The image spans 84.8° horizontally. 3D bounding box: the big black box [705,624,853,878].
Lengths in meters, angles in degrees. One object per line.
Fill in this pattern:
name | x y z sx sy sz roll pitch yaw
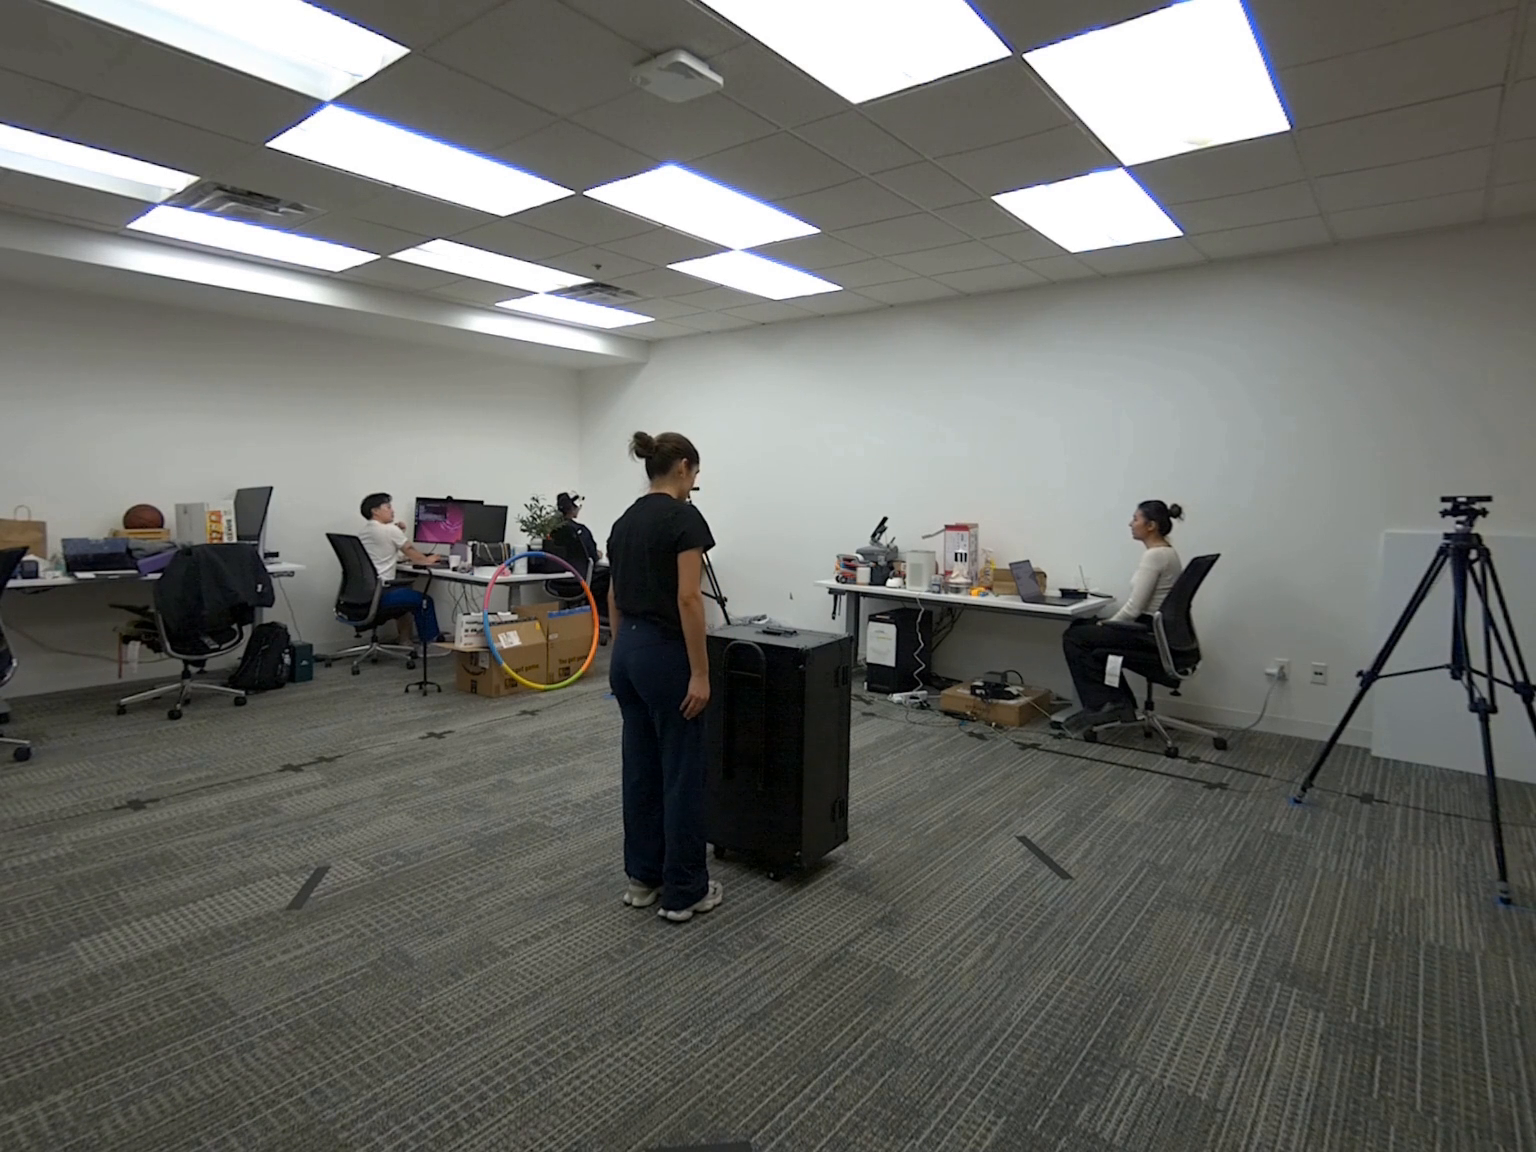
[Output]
big black box | 0.033 0.634 3.208 0.538 0.859 0.385 3 3 35
